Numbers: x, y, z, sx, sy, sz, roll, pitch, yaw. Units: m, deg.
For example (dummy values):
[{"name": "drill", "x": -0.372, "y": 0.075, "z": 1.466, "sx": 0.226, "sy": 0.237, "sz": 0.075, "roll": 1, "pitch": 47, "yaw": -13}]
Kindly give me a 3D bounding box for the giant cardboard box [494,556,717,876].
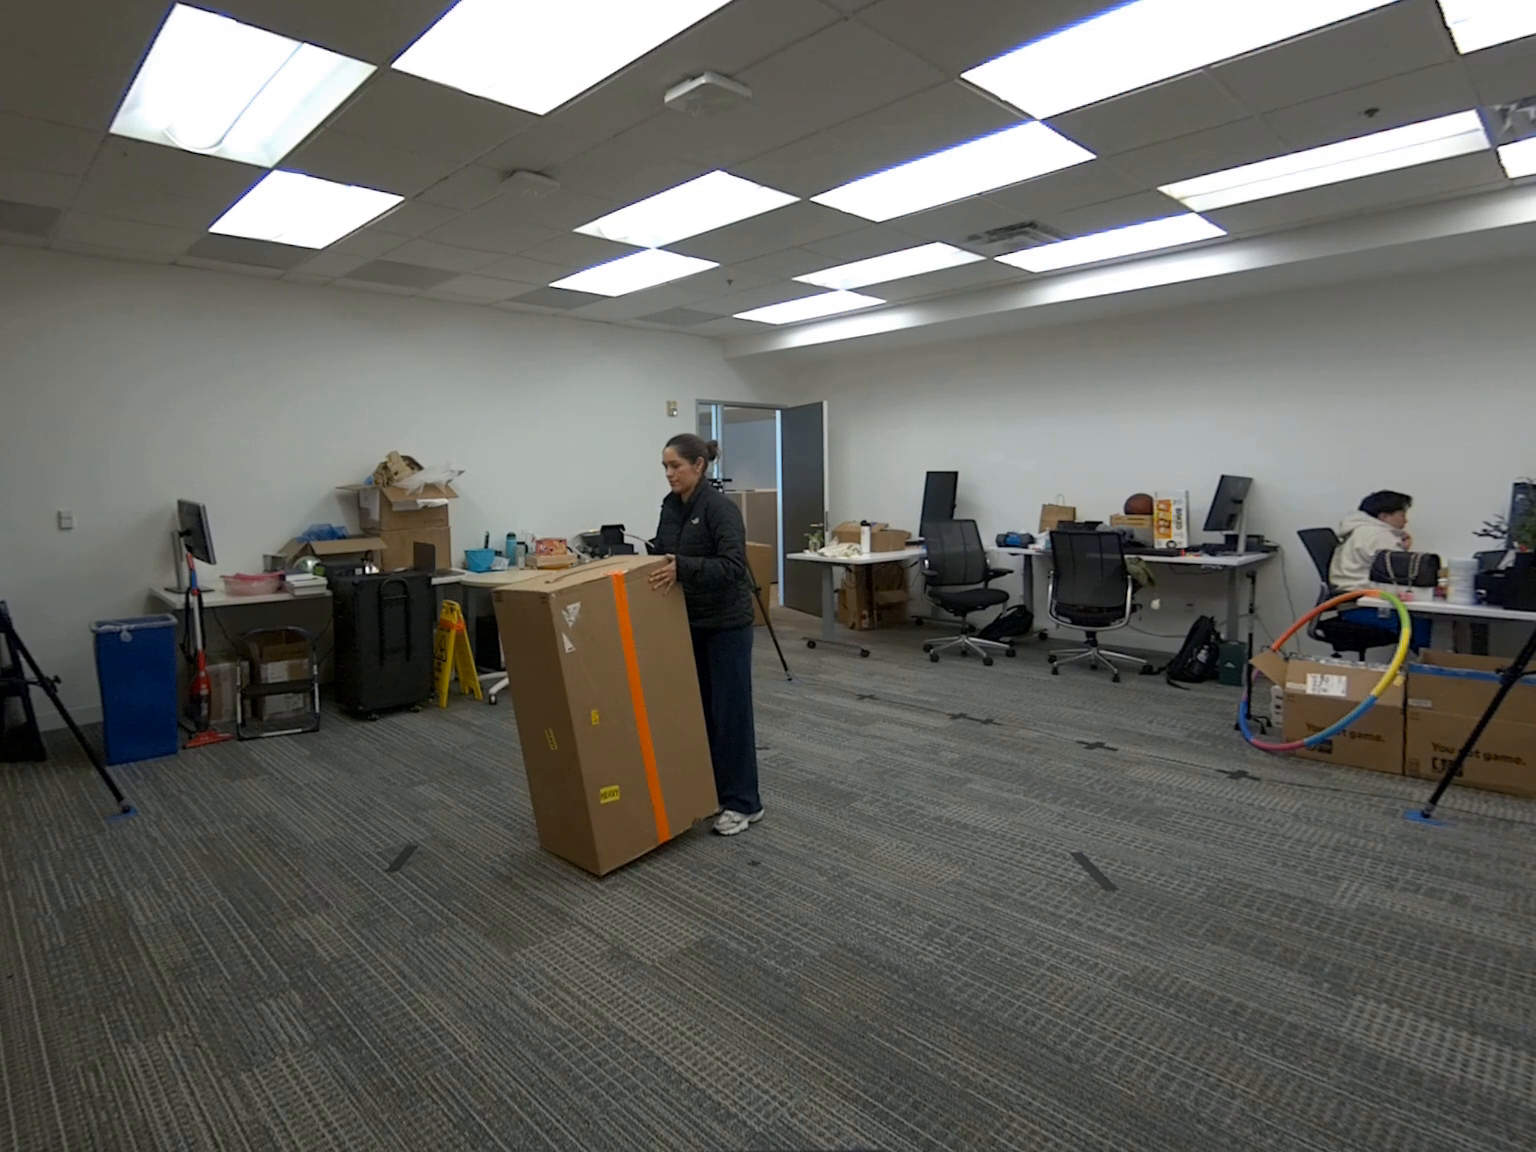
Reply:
[{"name": "giant cardboard box", "x": -0.616, "y": 0.488, "z": 3.266, "sx": 0.565, "sy": 1.019, "sz": 0.438, "roll": -15, "pitch": 9, "yaw": -42}]
